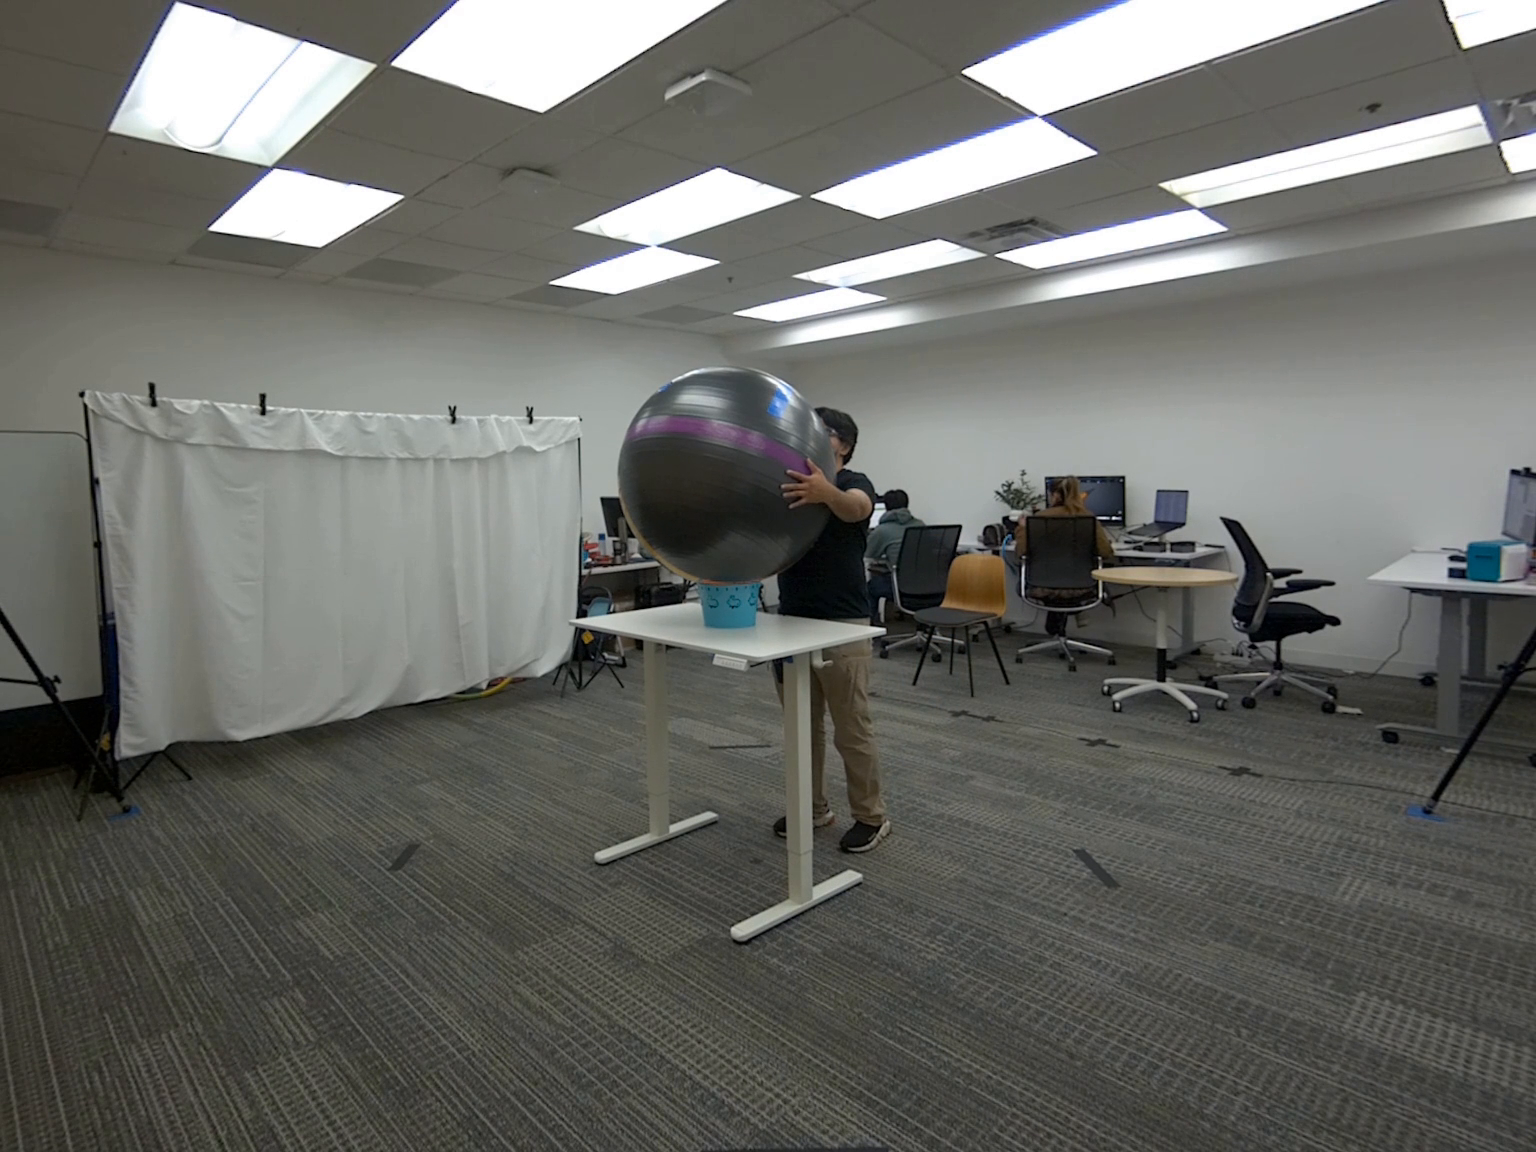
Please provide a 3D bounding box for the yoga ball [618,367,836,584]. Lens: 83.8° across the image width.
[{"bbox_3d":[-0.152,-0.337,2.971,0.757,0.755,0.762,-1,5,-2],"label":"yoga ball"}]
